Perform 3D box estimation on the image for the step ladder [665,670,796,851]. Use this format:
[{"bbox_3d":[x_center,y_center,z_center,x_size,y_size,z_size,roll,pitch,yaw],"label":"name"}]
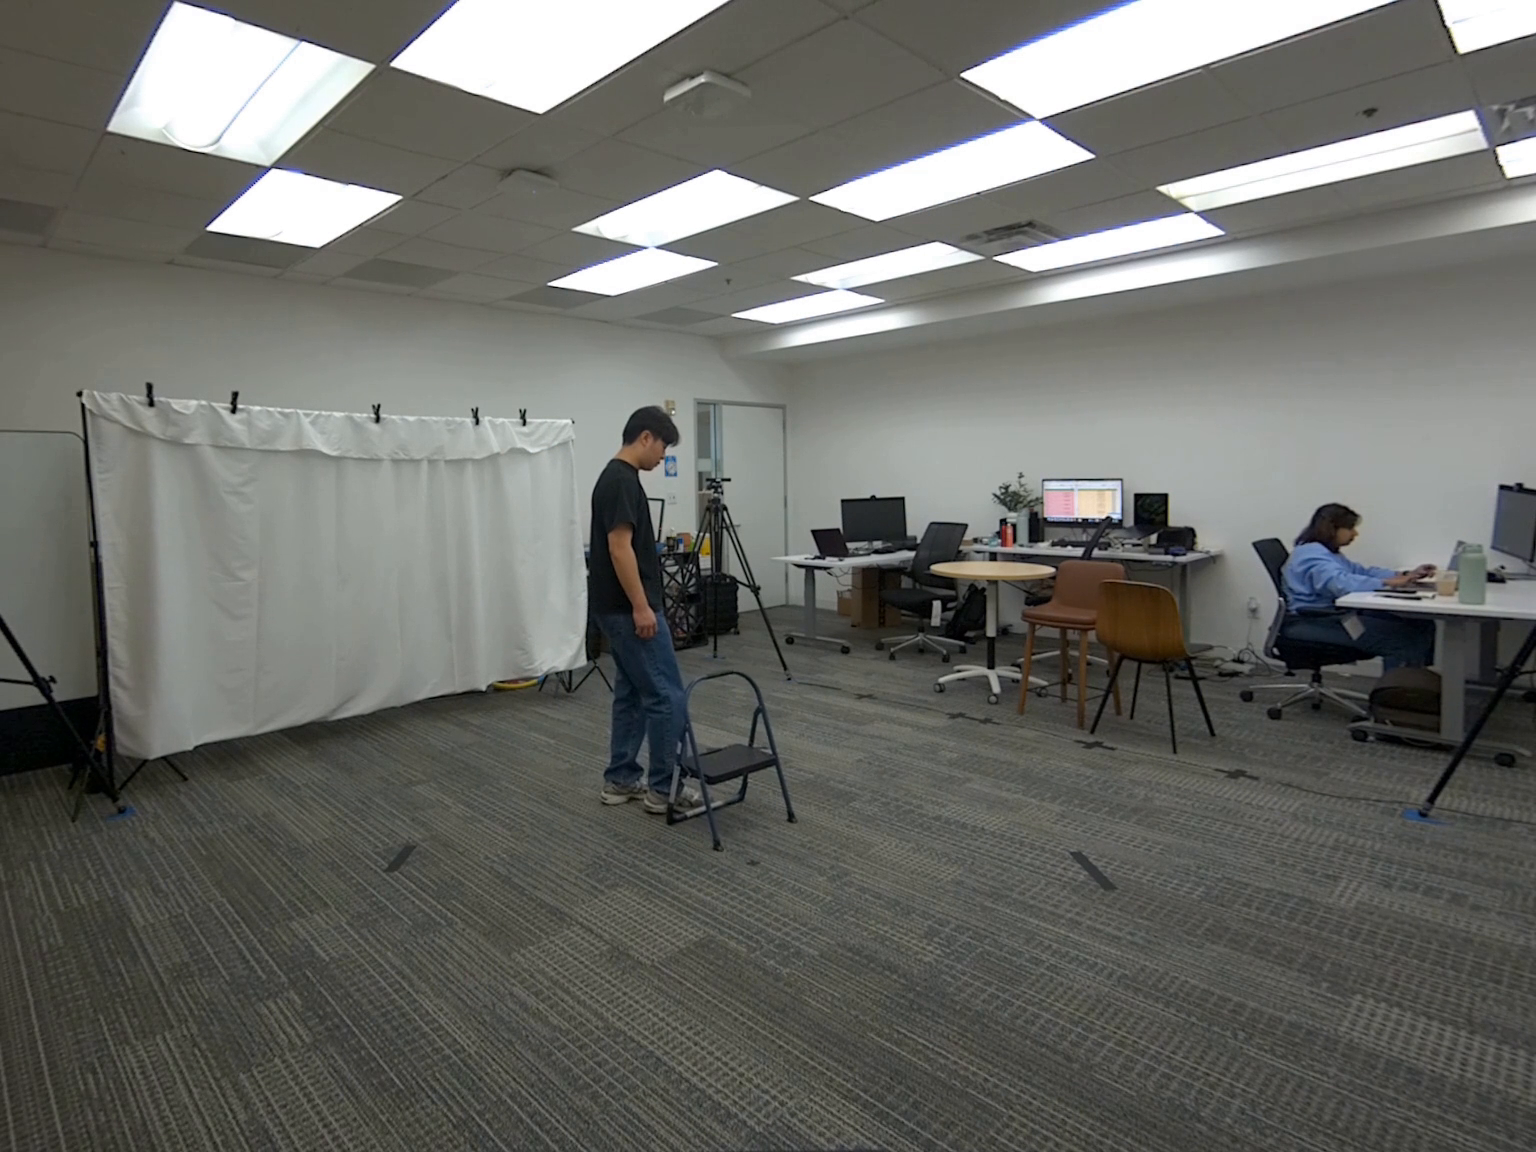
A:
[{"bbox_3d":[-0.153,0.700,3.450,0.419,0.604,0.360,-5,6,-42],"label":"step ladder"}]
